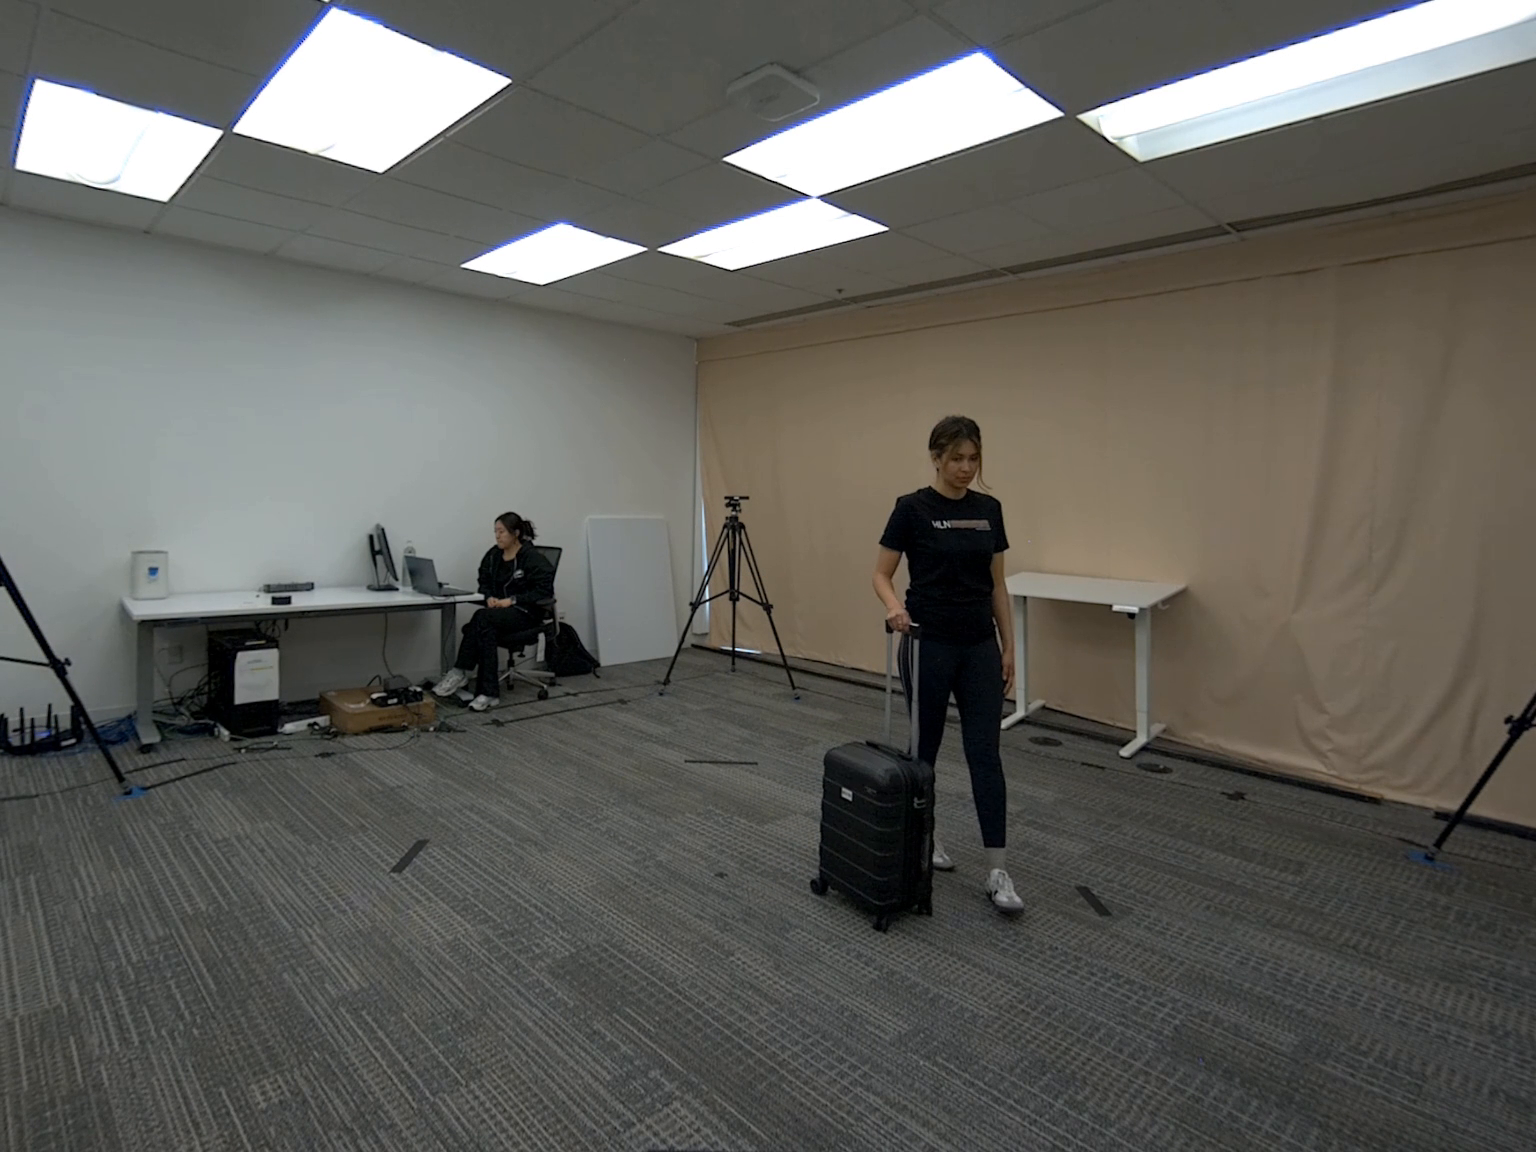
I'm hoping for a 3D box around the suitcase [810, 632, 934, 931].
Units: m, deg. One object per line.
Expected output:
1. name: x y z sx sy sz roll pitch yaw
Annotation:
1. suitcase: 0.365 0.663 2.854 0.252 0.974 0.393 -3 7 -32
